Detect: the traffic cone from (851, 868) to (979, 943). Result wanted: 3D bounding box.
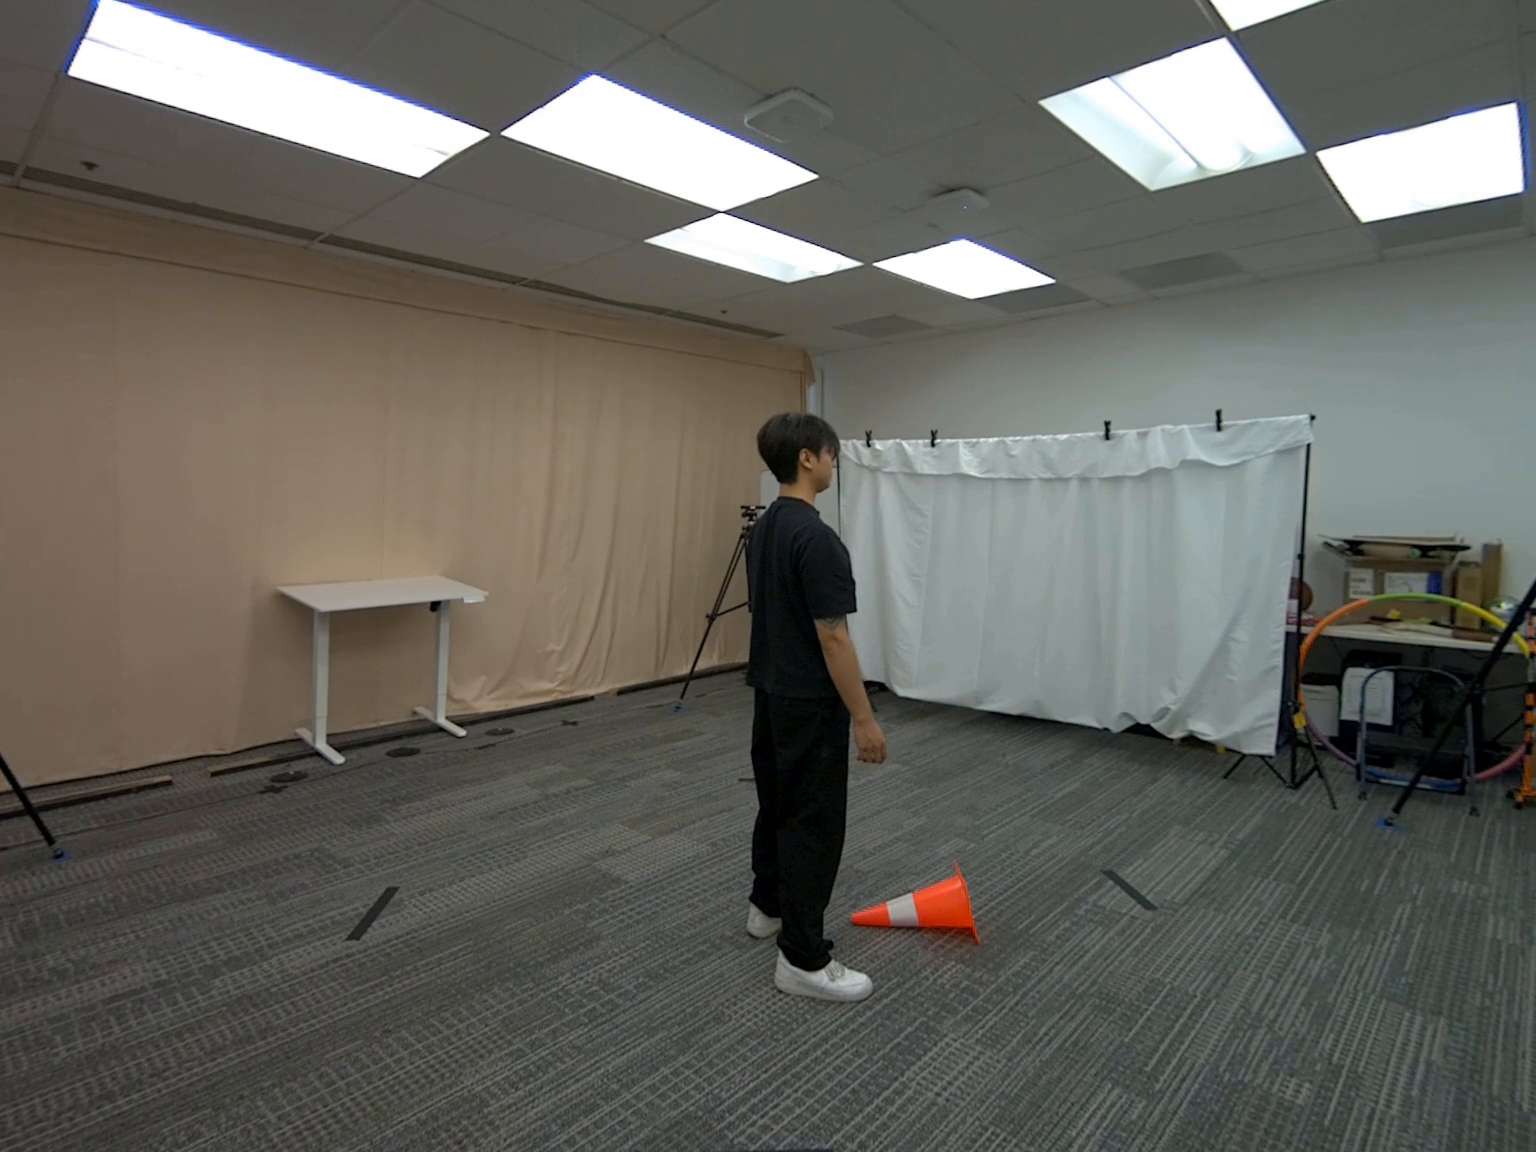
[{"bbox_3d":[0.469,1.118,2.770,0.385,0.202,0.205,-15,5,4],"label":"traffic cone"}]
